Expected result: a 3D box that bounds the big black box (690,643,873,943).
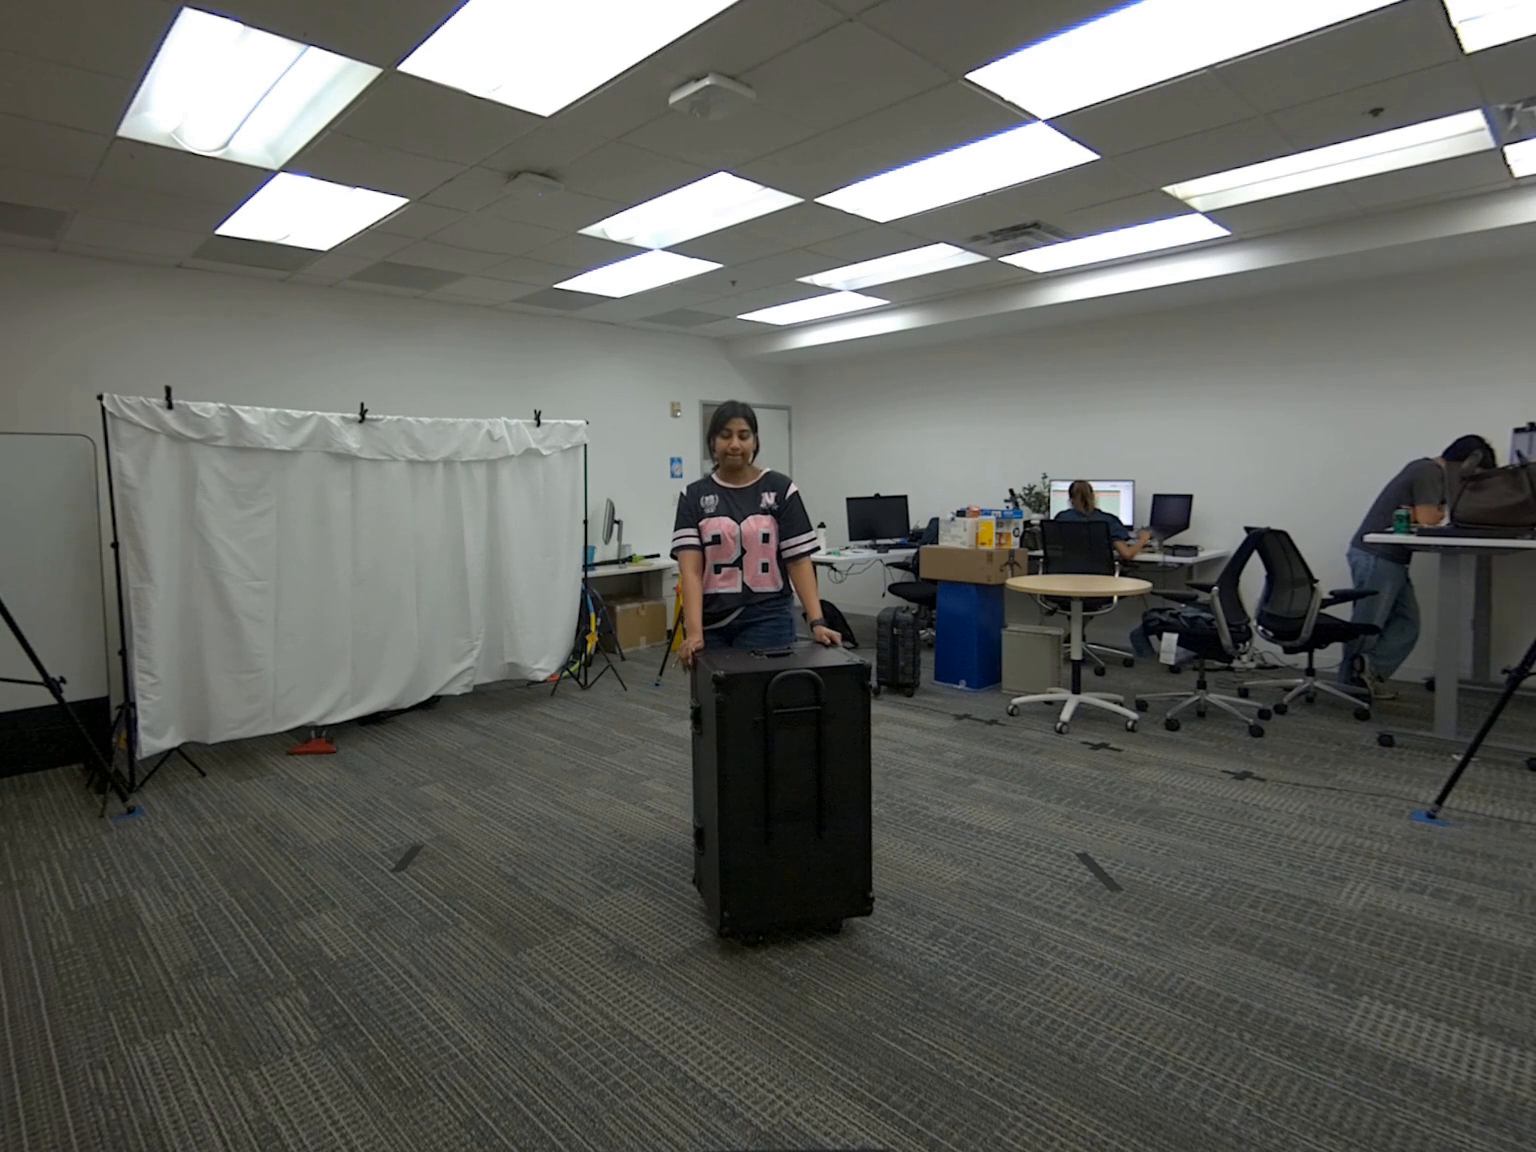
[{"bbox_3d":[0.043,0.673,2.676,0.516,0.865,0.392,-2,5,-16],"label":"big black box"}]
